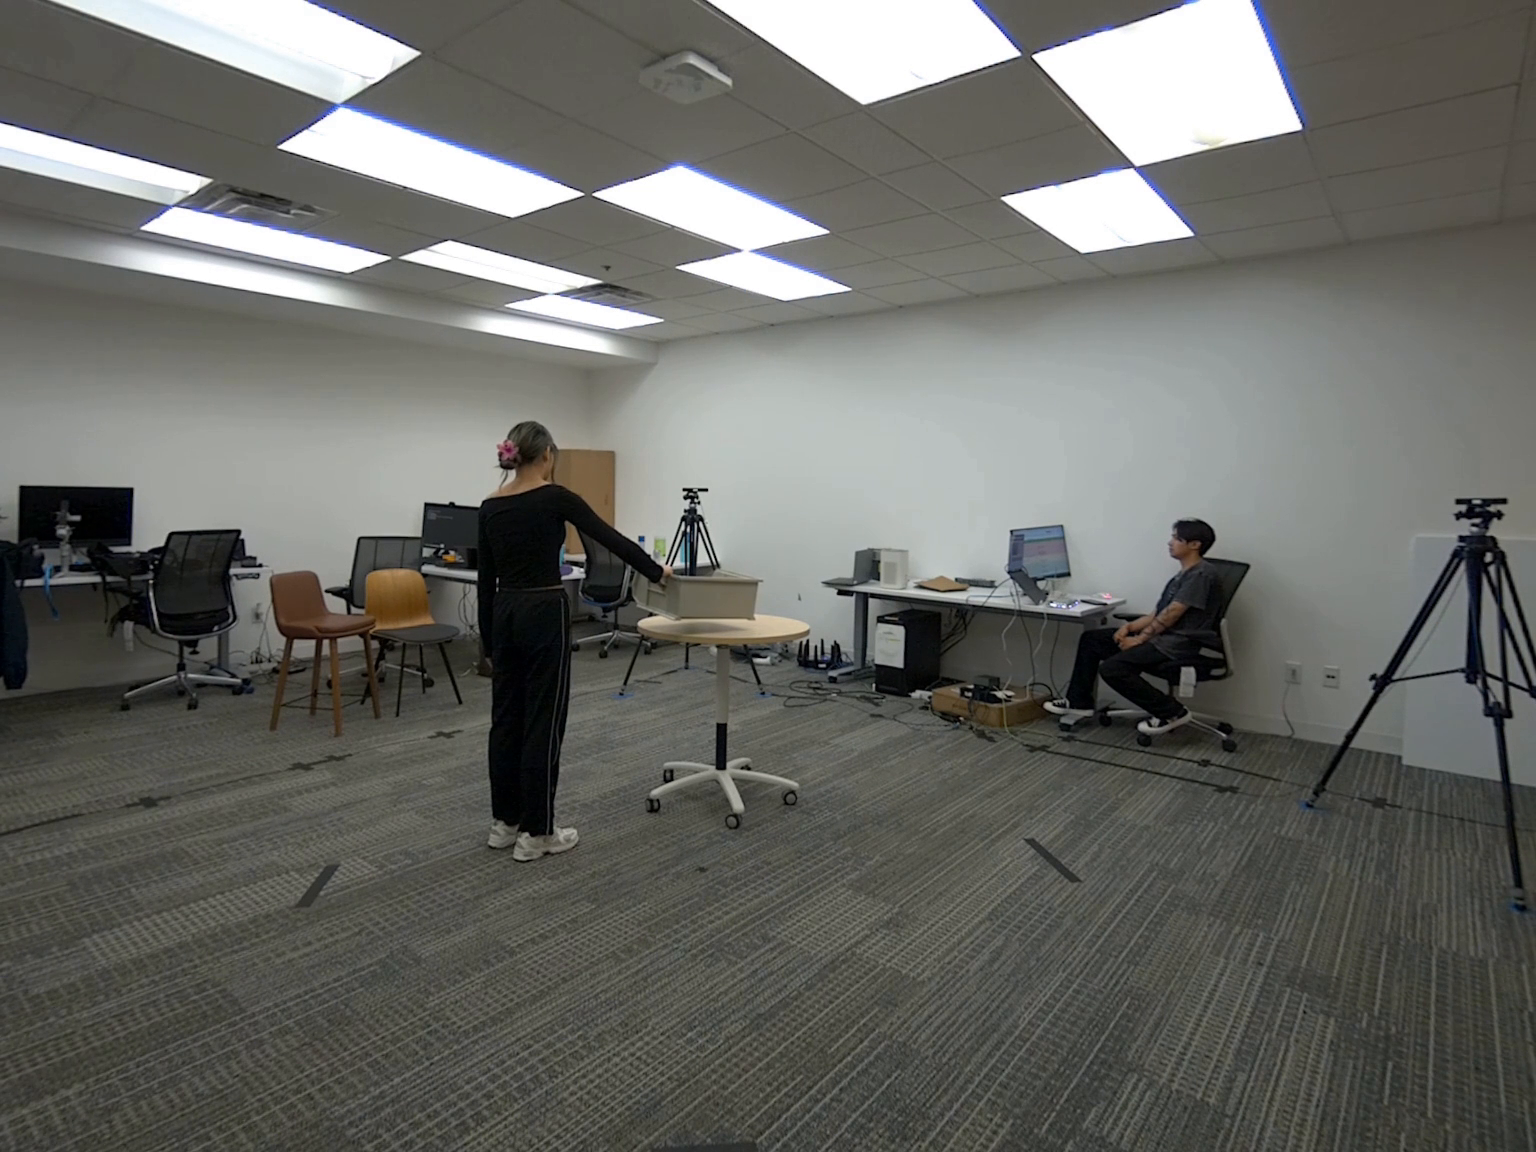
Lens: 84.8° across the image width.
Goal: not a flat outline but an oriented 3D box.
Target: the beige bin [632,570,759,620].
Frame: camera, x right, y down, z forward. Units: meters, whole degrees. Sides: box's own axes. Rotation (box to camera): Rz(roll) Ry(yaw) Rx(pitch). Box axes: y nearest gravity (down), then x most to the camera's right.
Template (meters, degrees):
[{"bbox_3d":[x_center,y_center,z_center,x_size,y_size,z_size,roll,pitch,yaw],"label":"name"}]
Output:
[{"bbox_3d":[-0.323,0.066,3.638,0.409,0.188,0.391,3,8,-38],"label":"beige bin"}]
